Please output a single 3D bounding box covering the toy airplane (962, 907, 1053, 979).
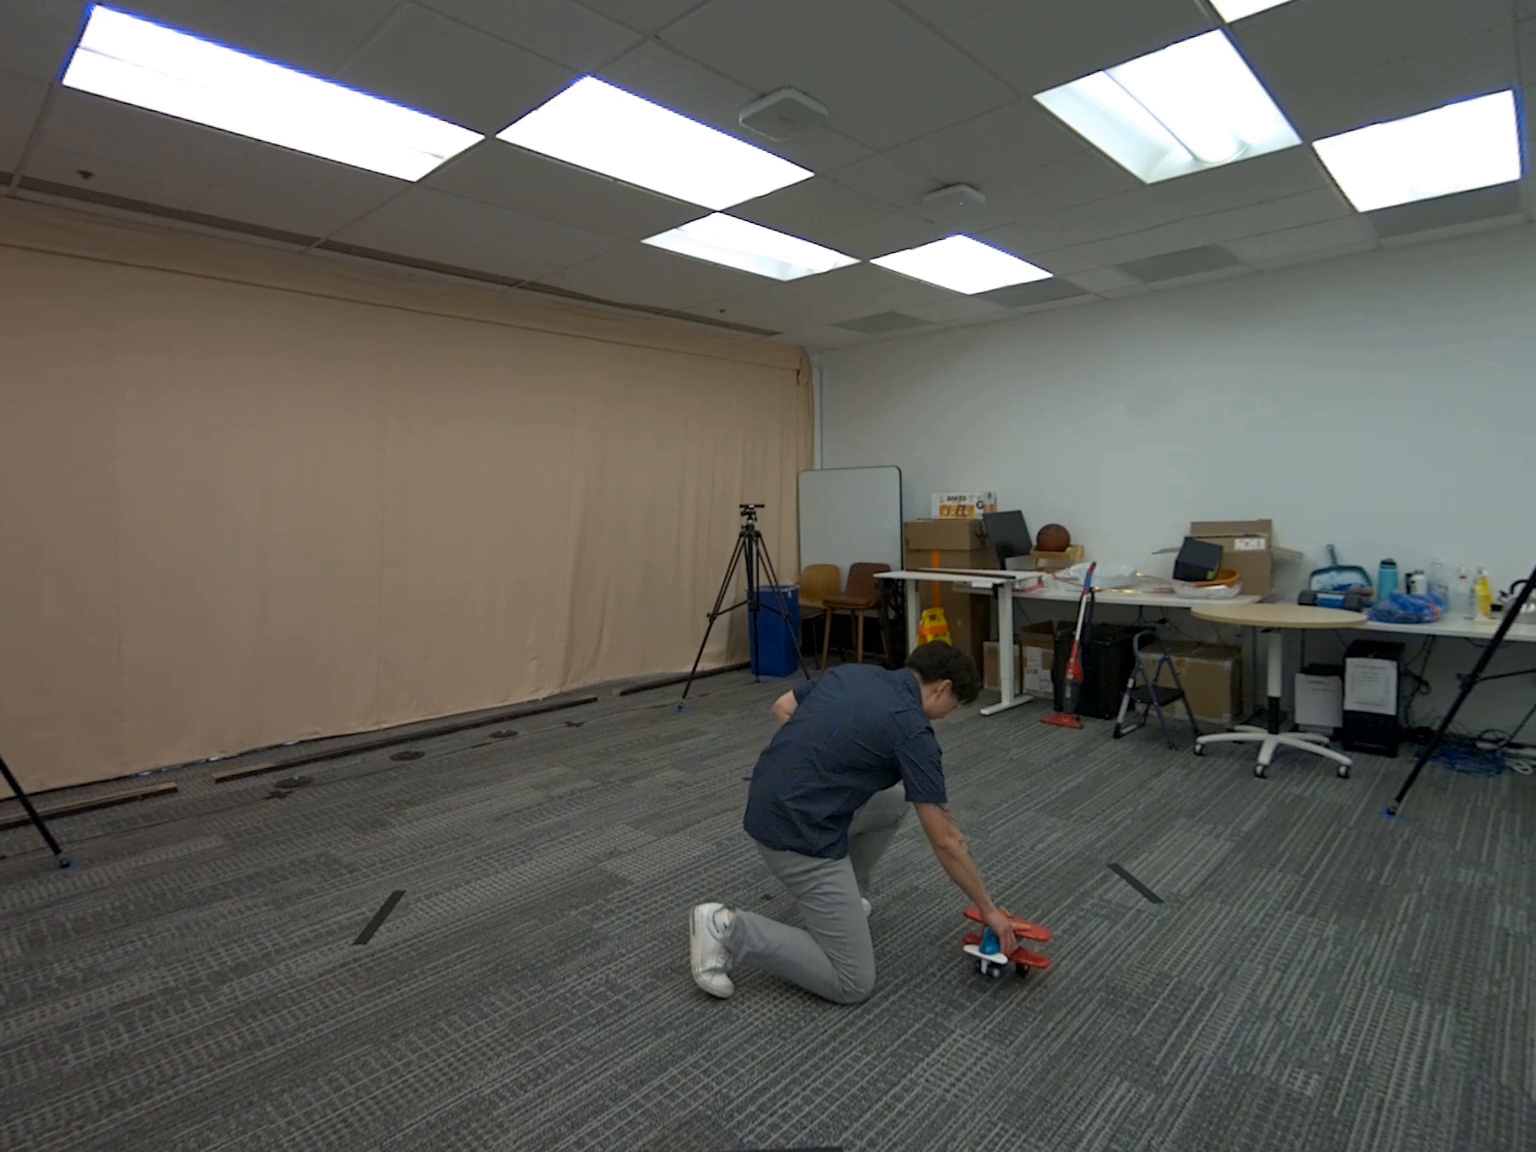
[{"bbox_3d":[0.700,1.081,2.428,0.255,0.157,0.254,11,-12,11],"label":"toy airplane"}]
